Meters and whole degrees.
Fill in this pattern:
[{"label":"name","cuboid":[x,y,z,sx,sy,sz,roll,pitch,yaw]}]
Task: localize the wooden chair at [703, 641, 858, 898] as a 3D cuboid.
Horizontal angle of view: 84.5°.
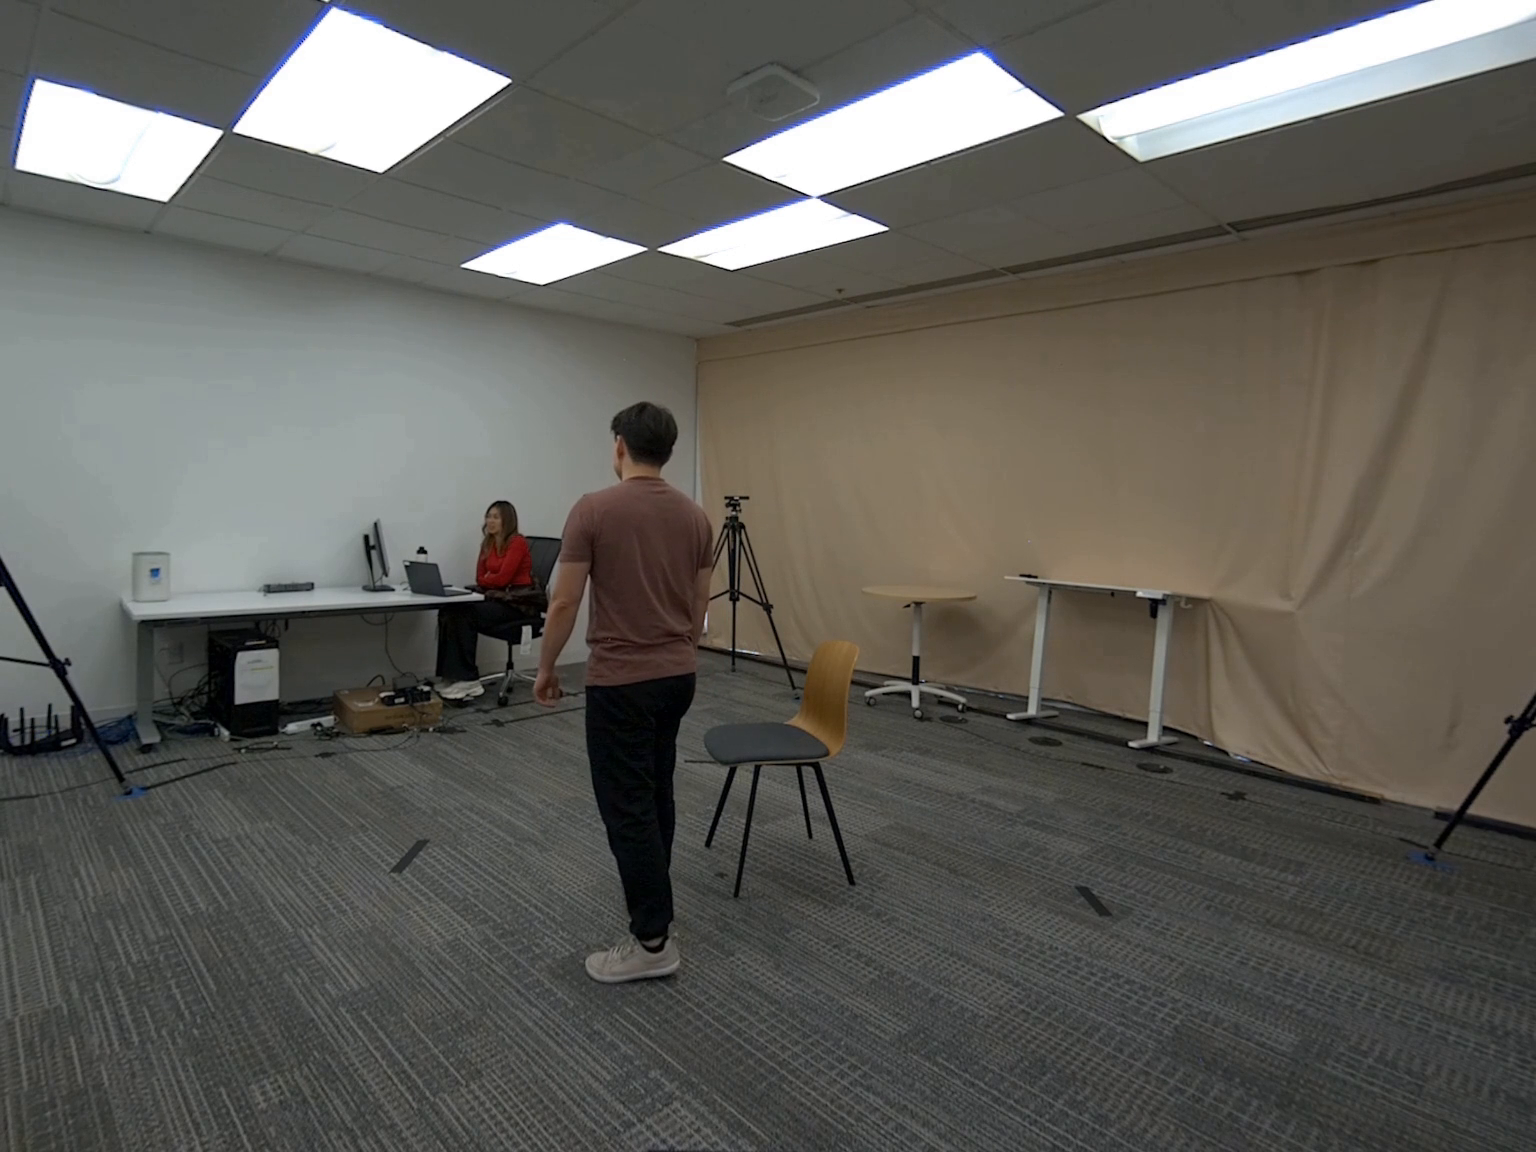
[{"label":"wooden chair","cuboid":[0.034,0.677,3.166,0.516,0.876,0.485,5,3,-17]}]
